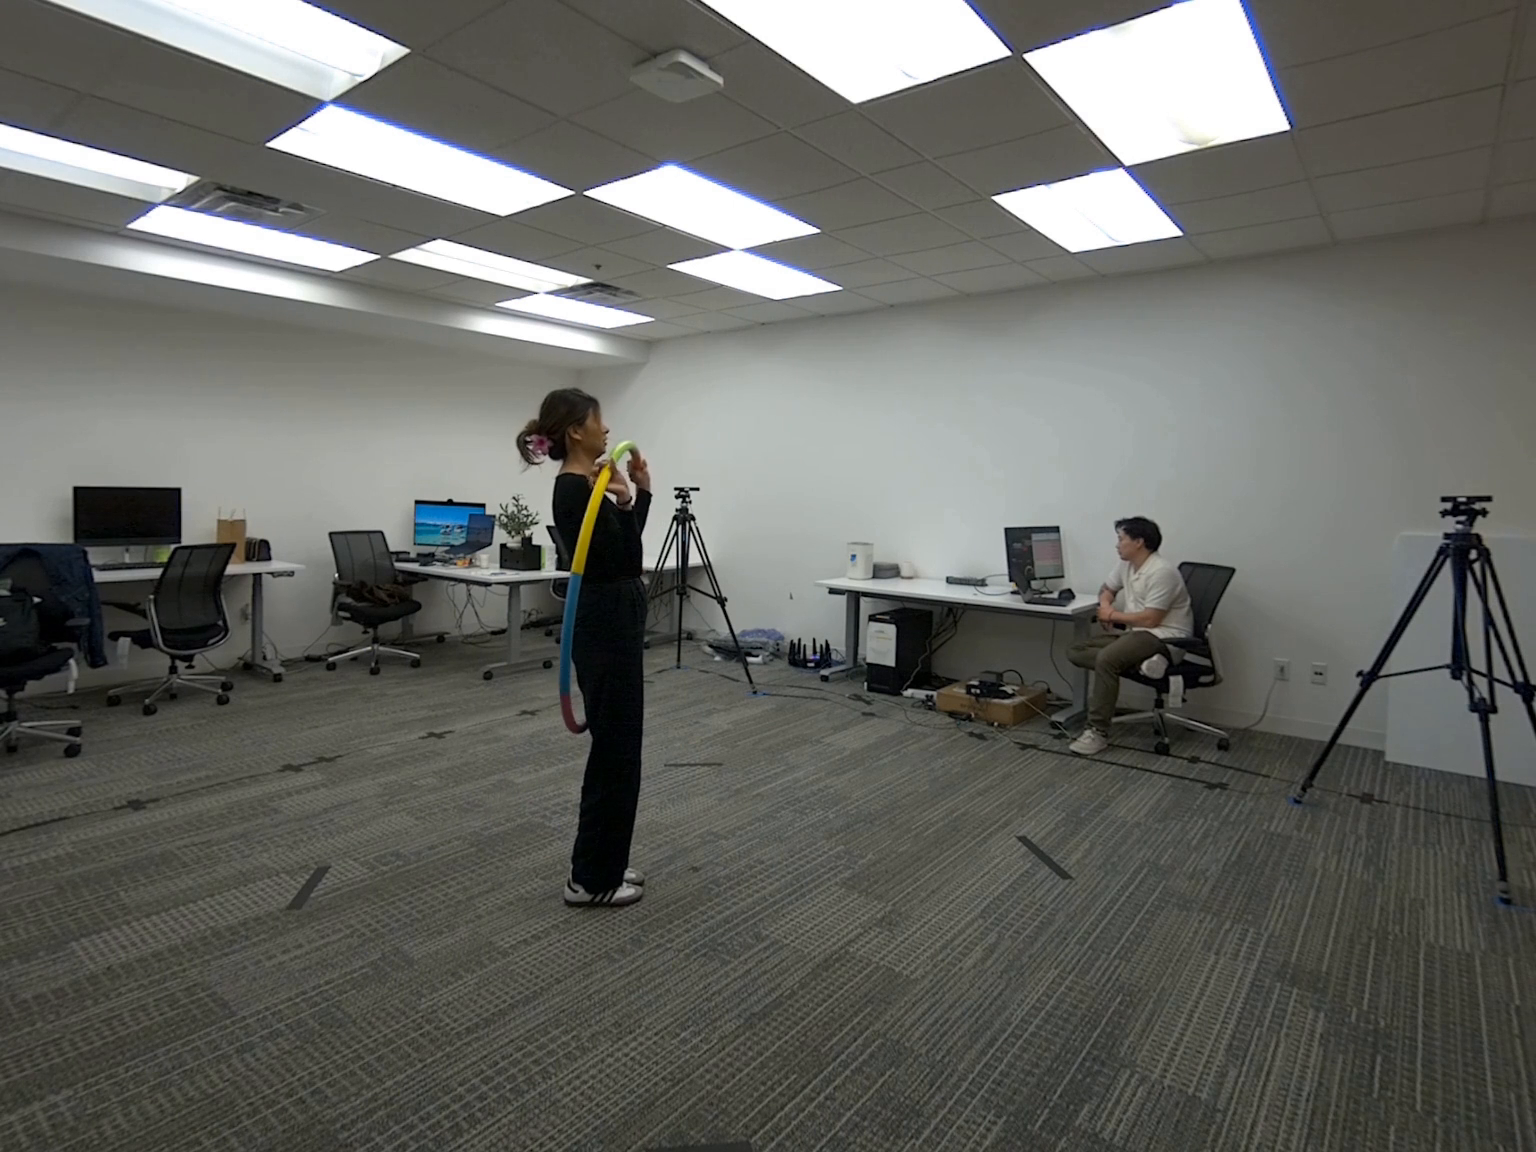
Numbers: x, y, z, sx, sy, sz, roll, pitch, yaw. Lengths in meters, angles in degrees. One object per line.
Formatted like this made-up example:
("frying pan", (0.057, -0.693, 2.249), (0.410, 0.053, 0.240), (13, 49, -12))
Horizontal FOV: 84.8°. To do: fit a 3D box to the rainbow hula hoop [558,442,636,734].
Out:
("rainbow hula hoop", (-0.545, 0.029, 2.891), (0.035, 0.976, 0.978), (10, 4, 0))
